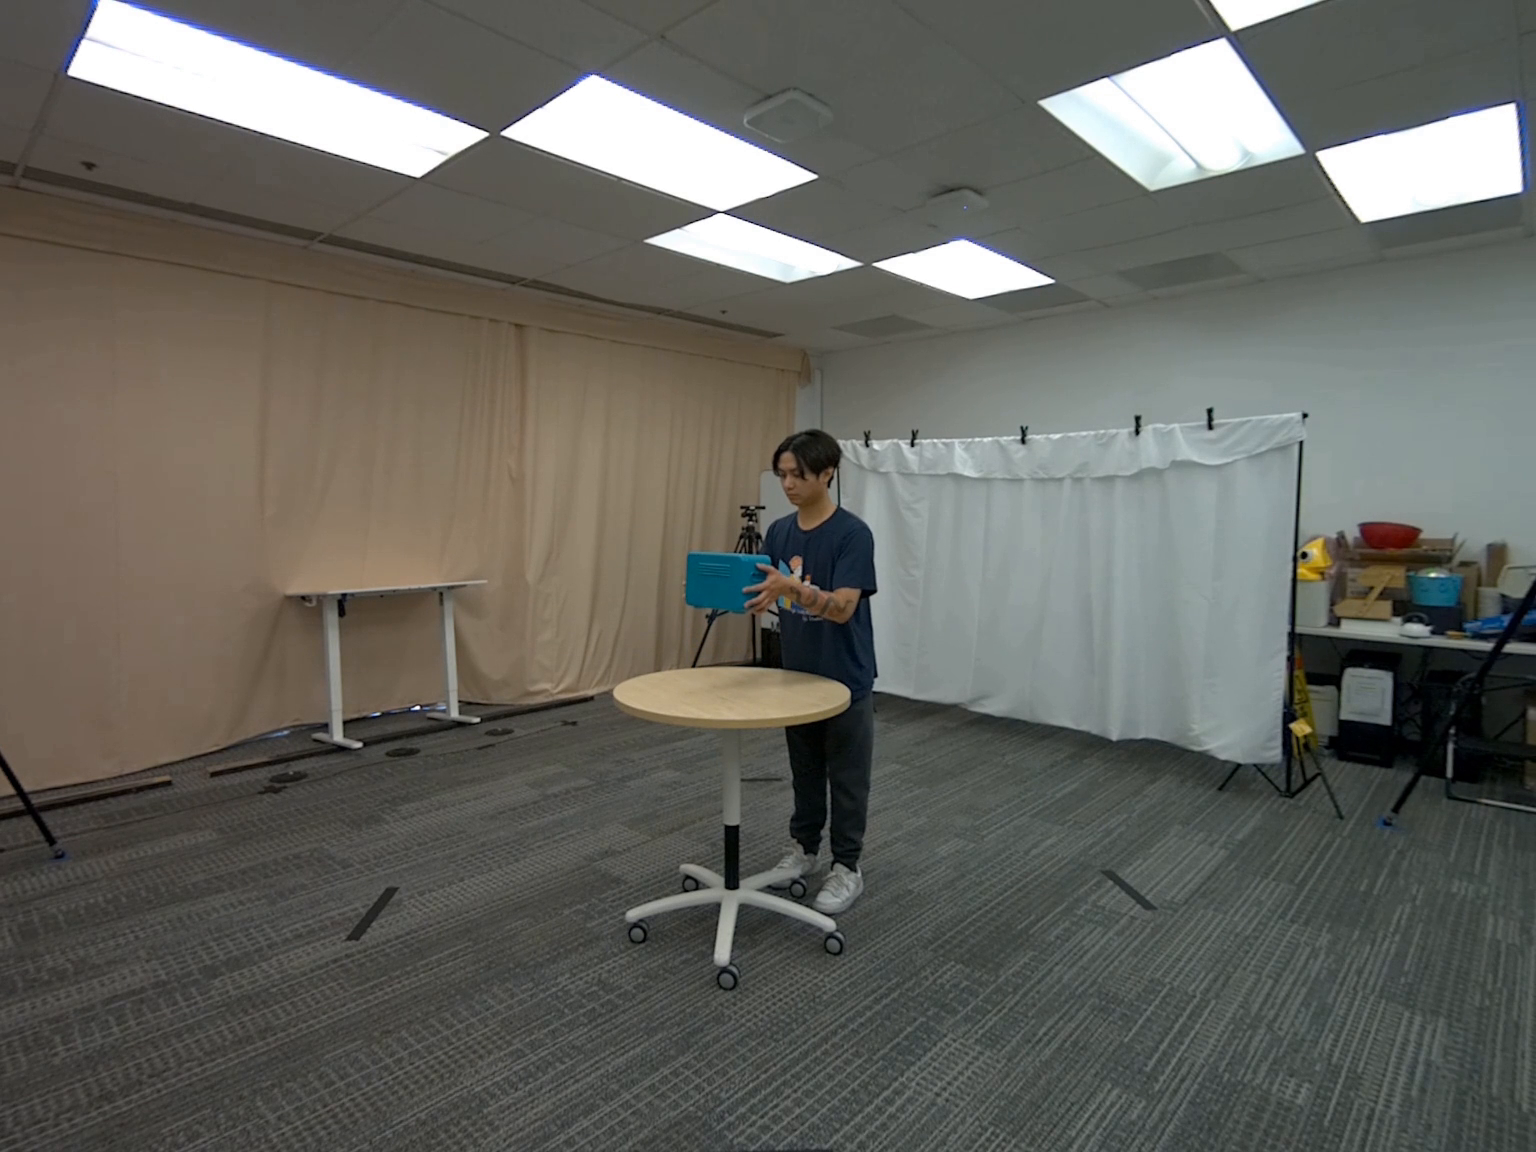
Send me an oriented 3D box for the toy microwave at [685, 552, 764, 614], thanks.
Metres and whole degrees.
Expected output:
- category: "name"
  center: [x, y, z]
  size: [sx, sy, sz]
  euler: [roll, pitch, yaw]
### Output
- category: "toy microwave"
  center: [-0.117, 0.019, 2.700]
  size: [0.147, 0.184, 0.296]
  euler: [-1, 4, -43]
